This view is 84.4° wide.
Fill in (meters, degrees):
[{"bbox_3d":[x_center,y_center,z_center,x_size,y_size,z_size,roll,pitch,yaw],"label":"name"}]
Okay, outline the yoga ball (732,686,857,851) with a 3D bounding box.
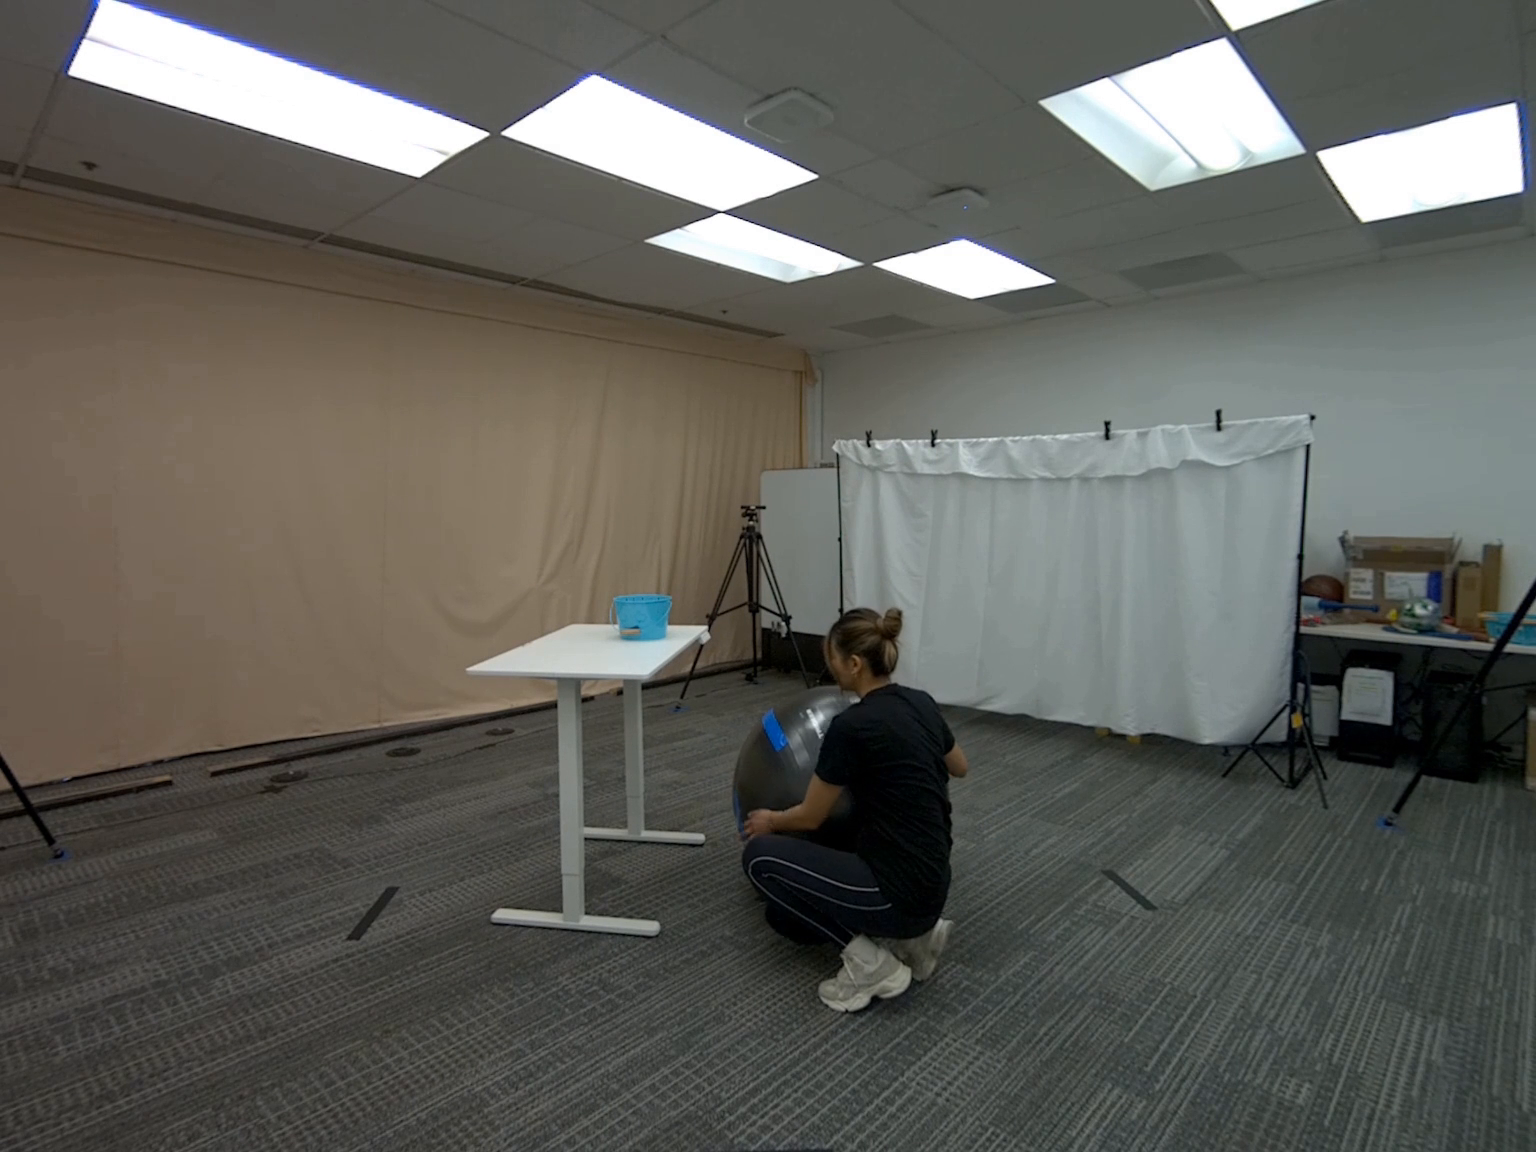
[{"bbox_3d":[0.257,0.785,2.990,0.757,0.756,0.761,0,4,-2],"label":"yoga ball"}]
